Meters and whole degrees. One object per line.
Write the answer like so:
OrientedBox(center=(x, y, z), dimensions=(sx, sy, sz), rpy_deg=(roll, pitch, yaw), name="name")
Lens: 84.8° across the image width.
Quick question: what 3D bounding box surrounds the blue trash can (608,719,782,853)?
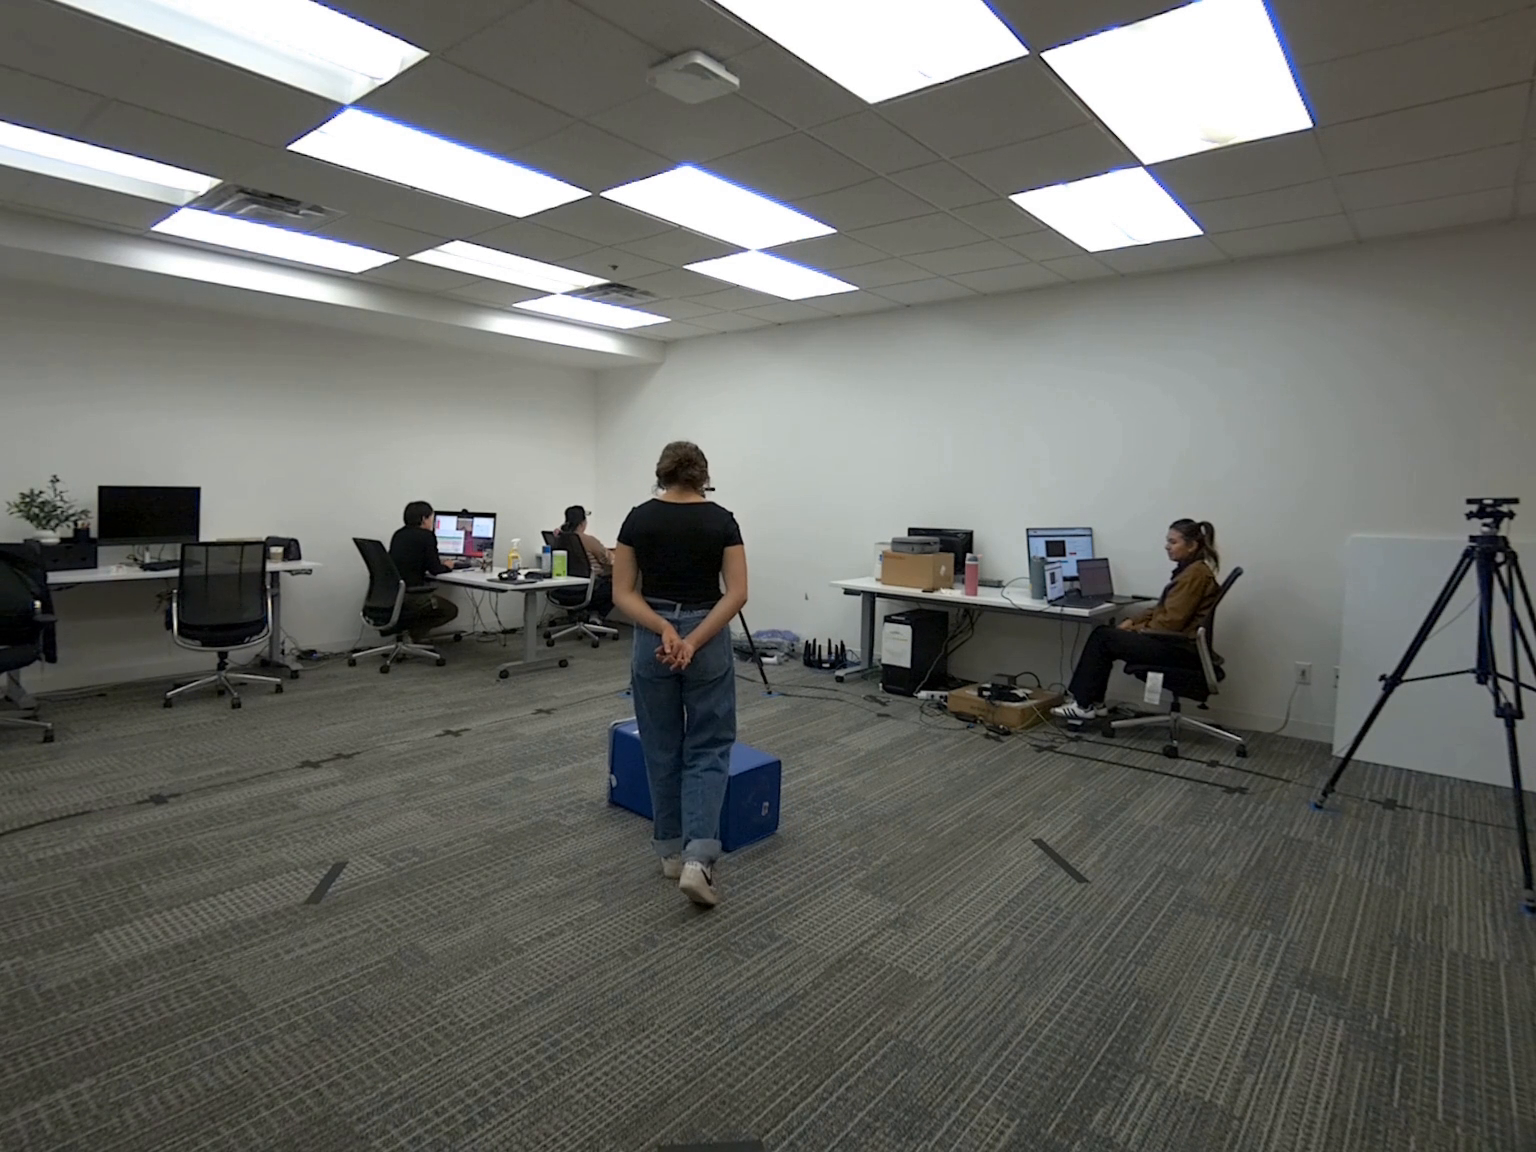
OrientedBox(center=(-0.323, 0.851, 3.582), dimensions=(0.739, 0.376, 0.363), rpy_deg=(9, 8, 42), name="blue trash can")
